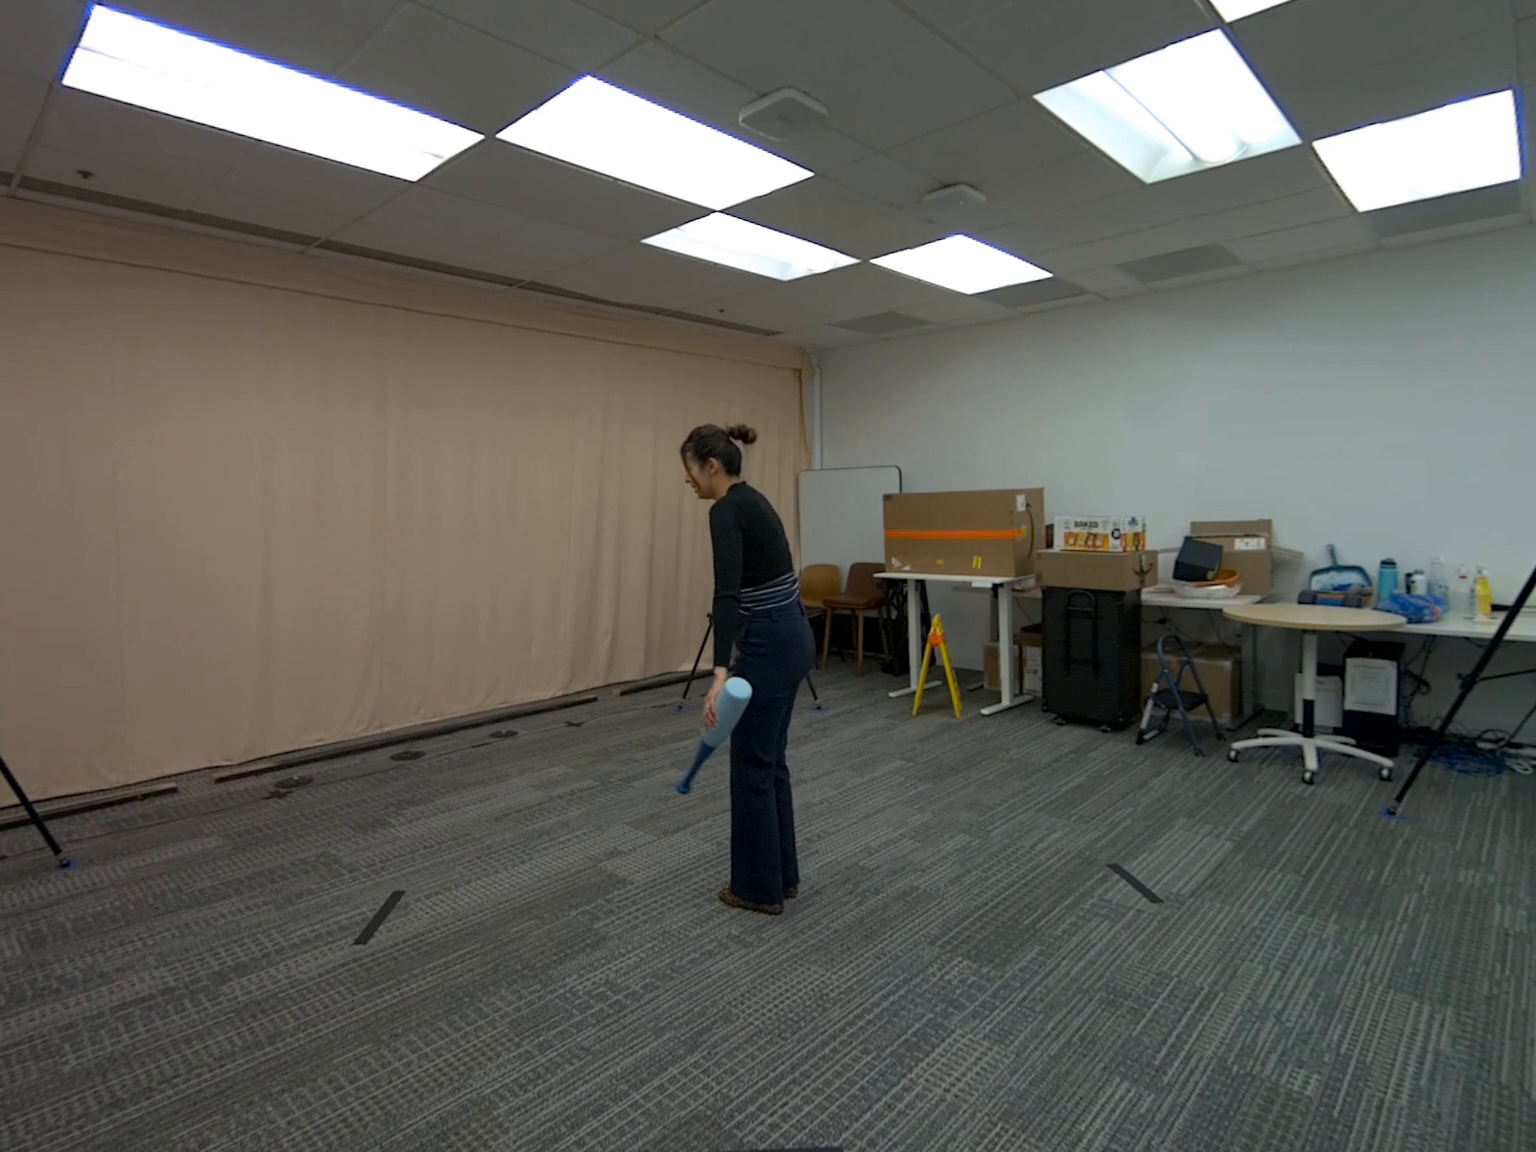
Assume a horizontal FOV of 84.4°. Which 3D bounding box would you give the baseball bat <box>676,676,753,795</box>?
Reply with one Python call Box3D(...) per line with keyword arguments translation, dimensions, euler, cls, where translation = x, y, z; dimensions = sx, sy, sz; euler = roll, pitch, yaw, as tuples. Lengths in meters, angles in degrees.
Box3D(translation=(-0.182, 0.511, 2.607), dimensions=(0.087, 0.541, 0.091), euler=(15, 40, -15), cls="baseball bat")
